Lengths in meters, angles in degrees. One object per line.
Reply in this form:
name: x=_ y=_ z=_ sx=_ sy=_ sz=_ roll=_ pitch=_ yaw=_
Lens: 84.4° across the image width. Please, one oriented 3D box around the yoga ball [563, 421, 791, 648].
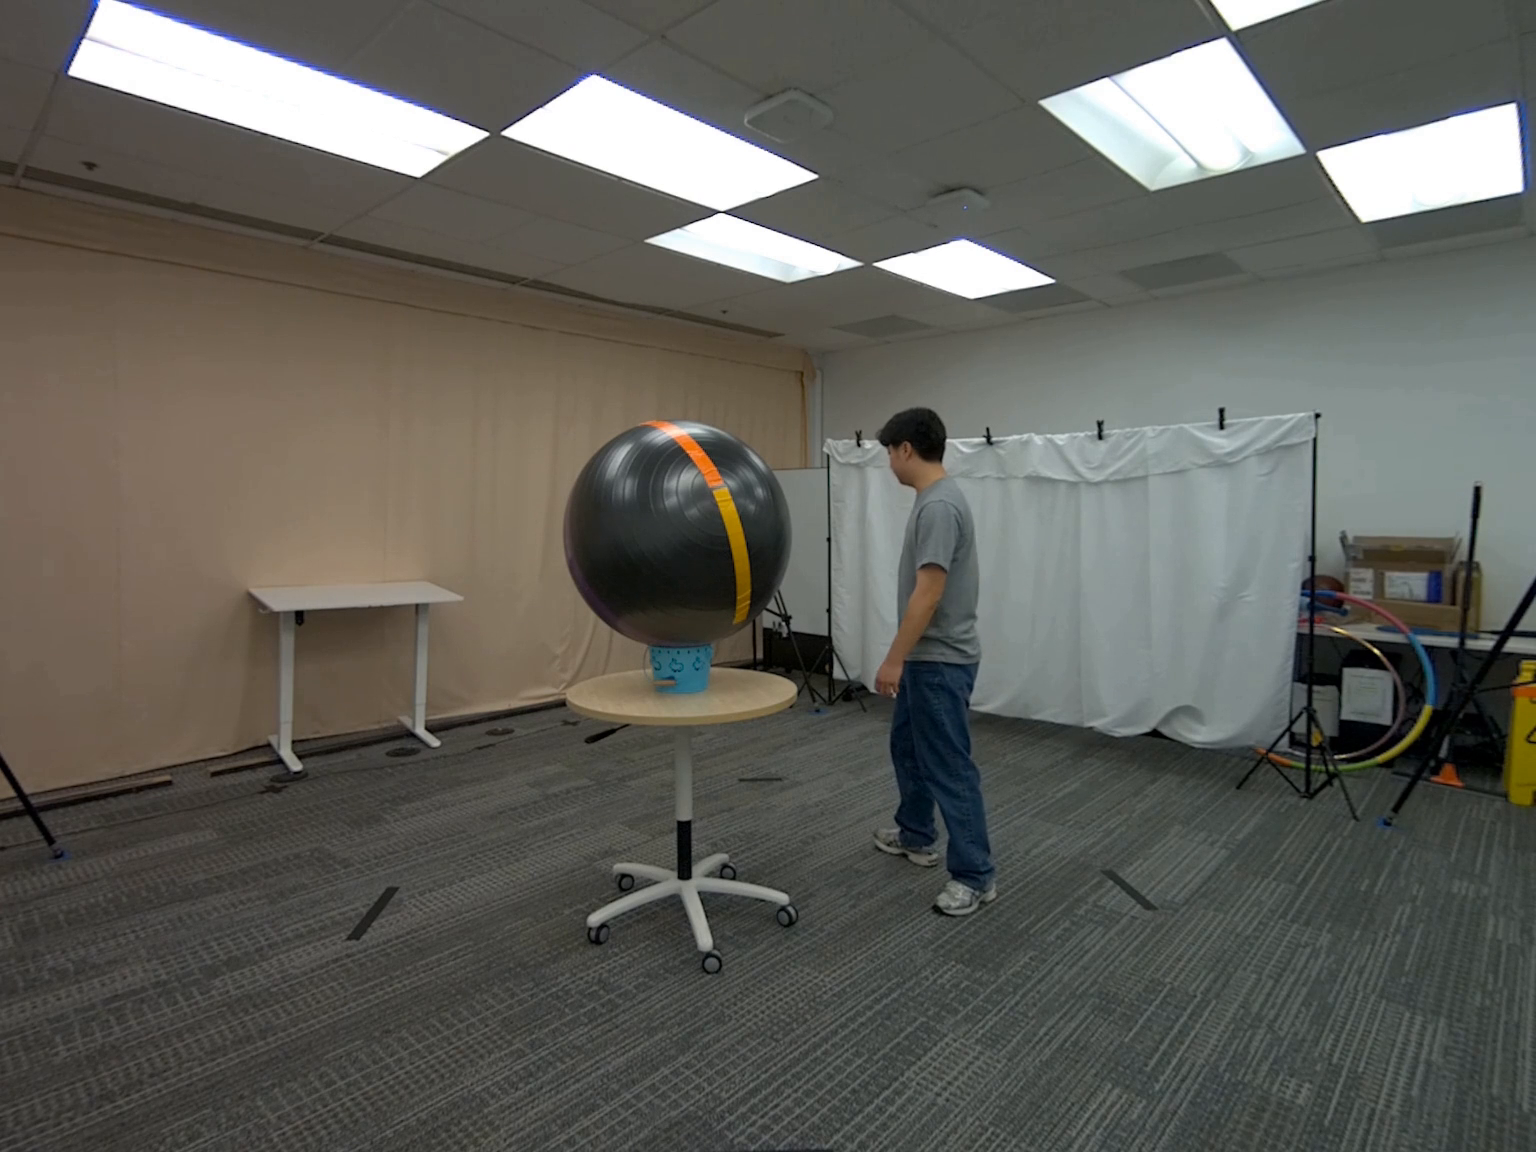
yoga ball: x=-0.305 y=-0.135 z=2.807 sx=0.757 sy=0.756 sz=0.760 roll=0 pitch=4 yaw=-2
